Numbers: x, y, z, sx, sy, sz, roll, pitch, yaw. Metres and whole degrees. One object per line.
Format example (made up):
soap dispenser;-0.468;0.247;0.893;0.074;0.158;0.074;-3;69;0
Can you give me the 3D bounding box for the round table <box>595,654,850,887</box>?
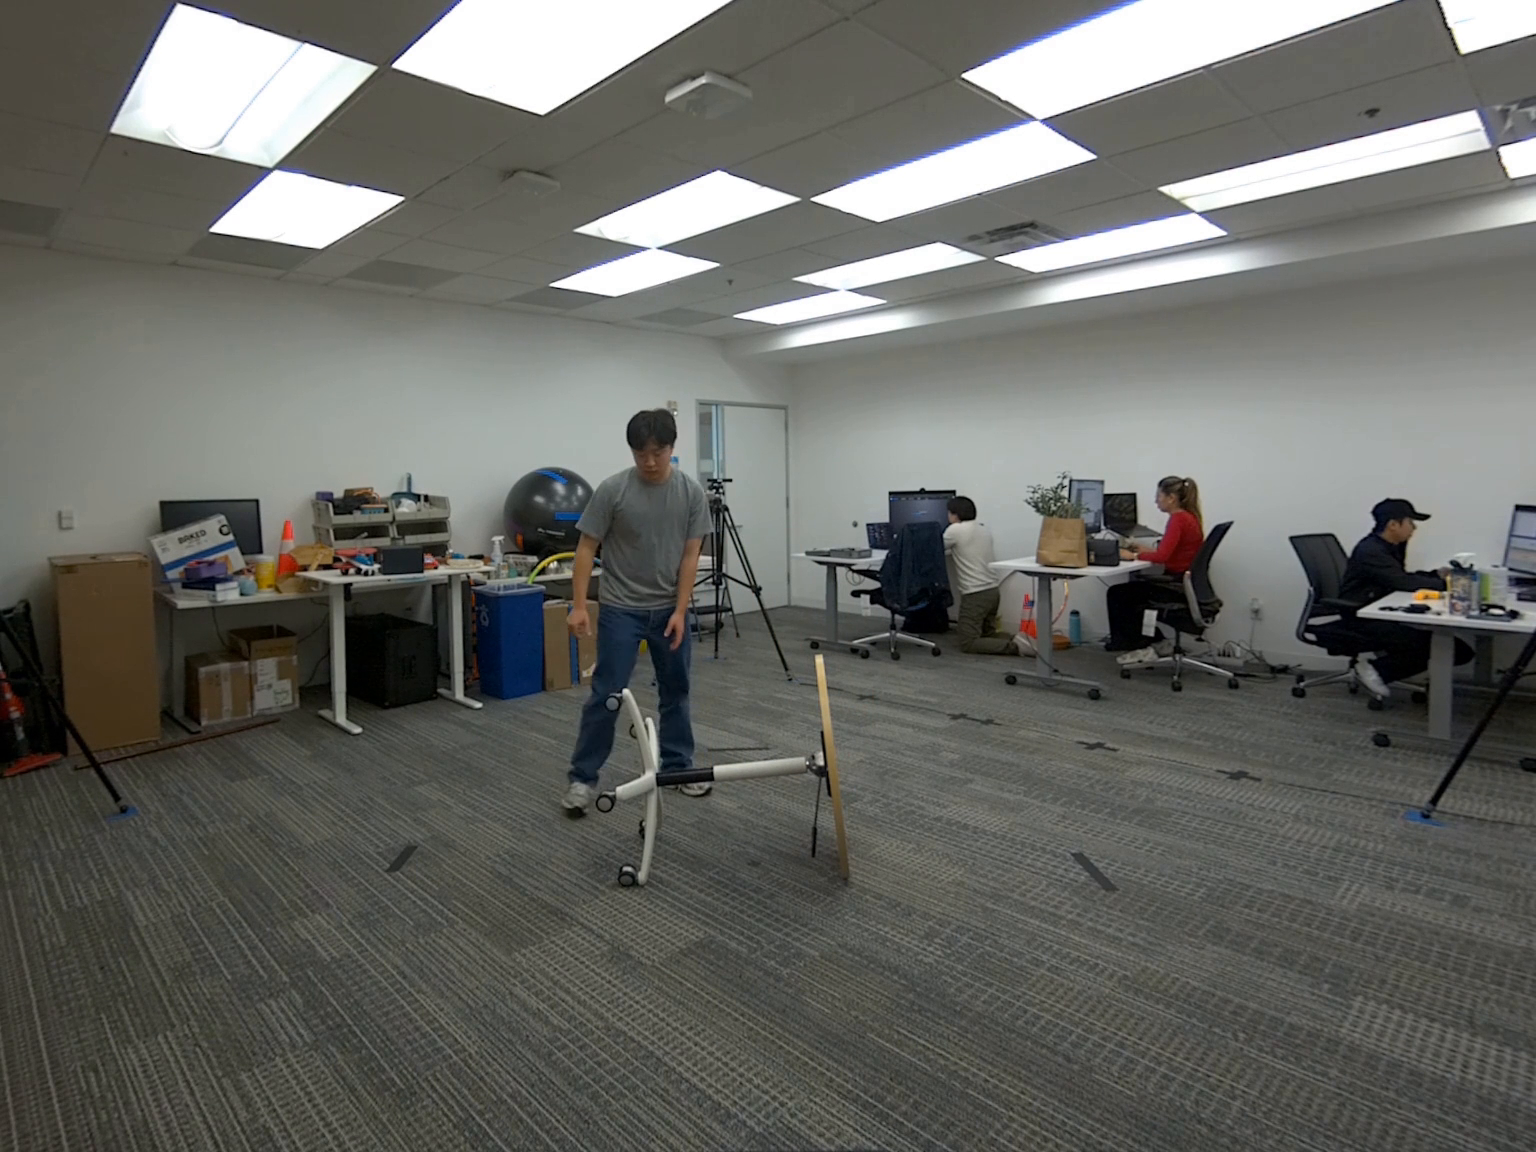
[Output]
round table;-0.150;0.716;3.080;0.797;0.761;0.764;-7;4;4
